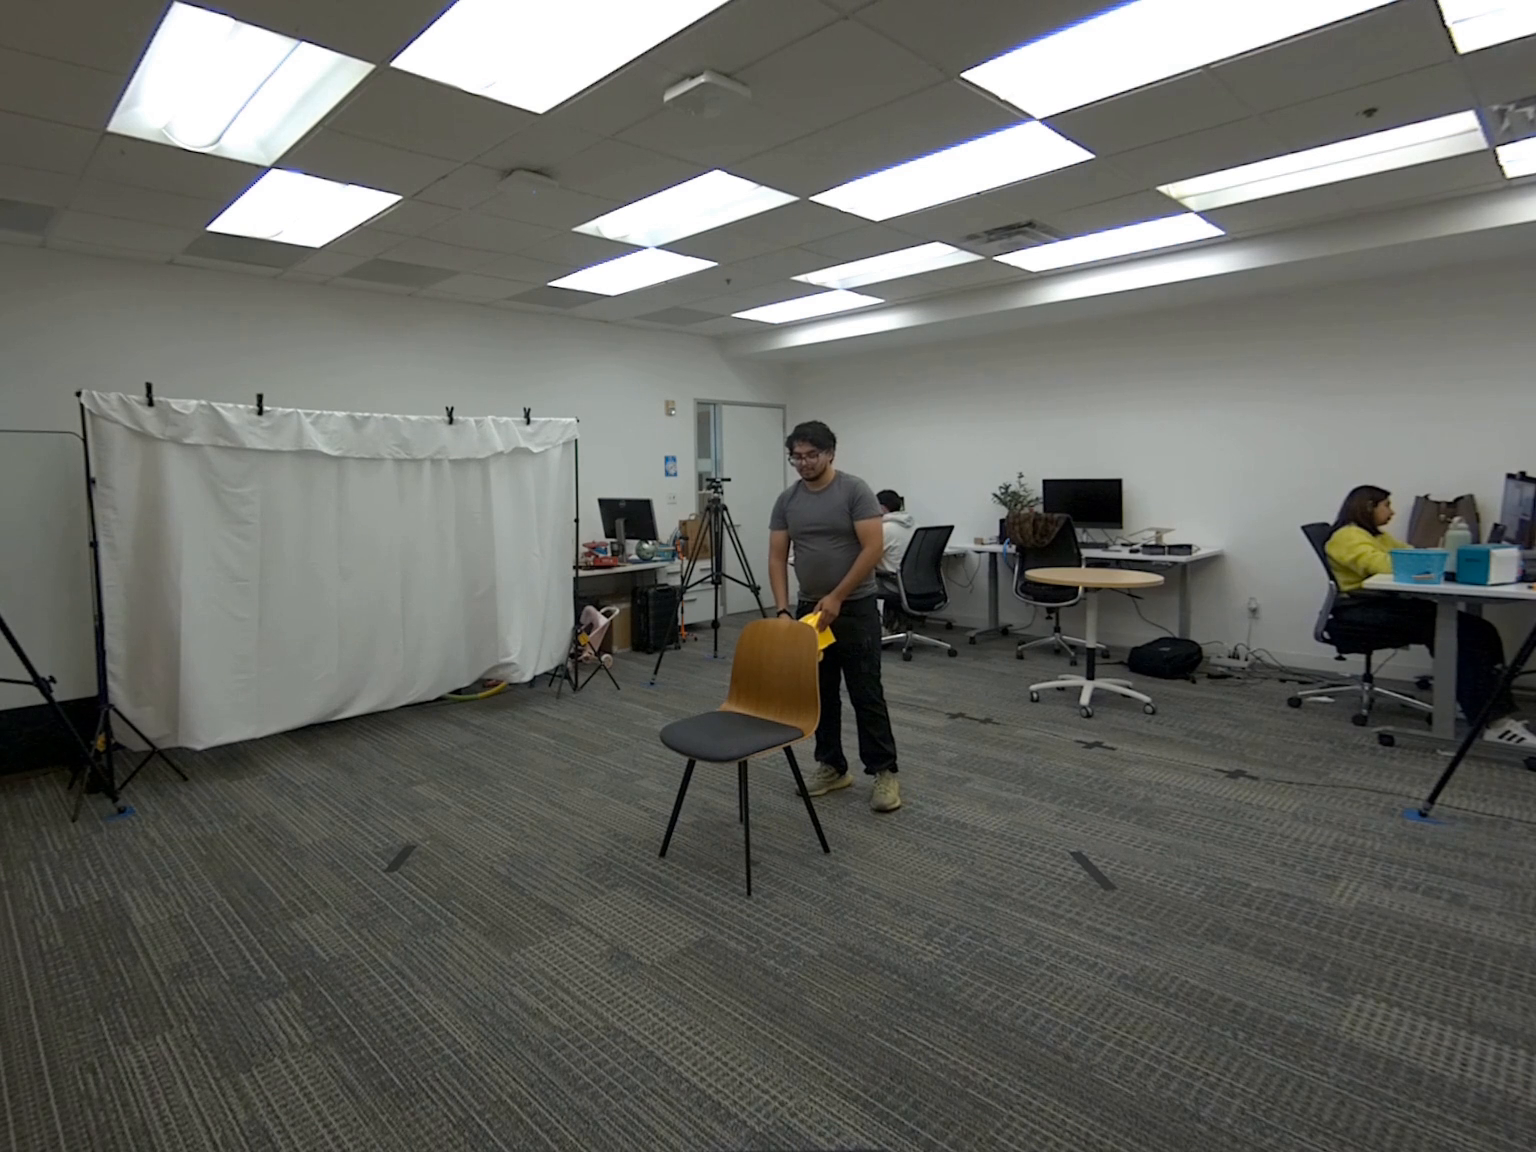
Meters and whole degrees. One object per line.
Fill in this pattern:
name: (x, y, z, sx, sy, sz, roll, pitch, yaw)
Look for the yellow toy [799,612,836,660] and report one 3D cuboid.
yellow toy: (0.161, 0.240, 3.568, 0.199, 0.227, 0.201, 18, 22, 33)
